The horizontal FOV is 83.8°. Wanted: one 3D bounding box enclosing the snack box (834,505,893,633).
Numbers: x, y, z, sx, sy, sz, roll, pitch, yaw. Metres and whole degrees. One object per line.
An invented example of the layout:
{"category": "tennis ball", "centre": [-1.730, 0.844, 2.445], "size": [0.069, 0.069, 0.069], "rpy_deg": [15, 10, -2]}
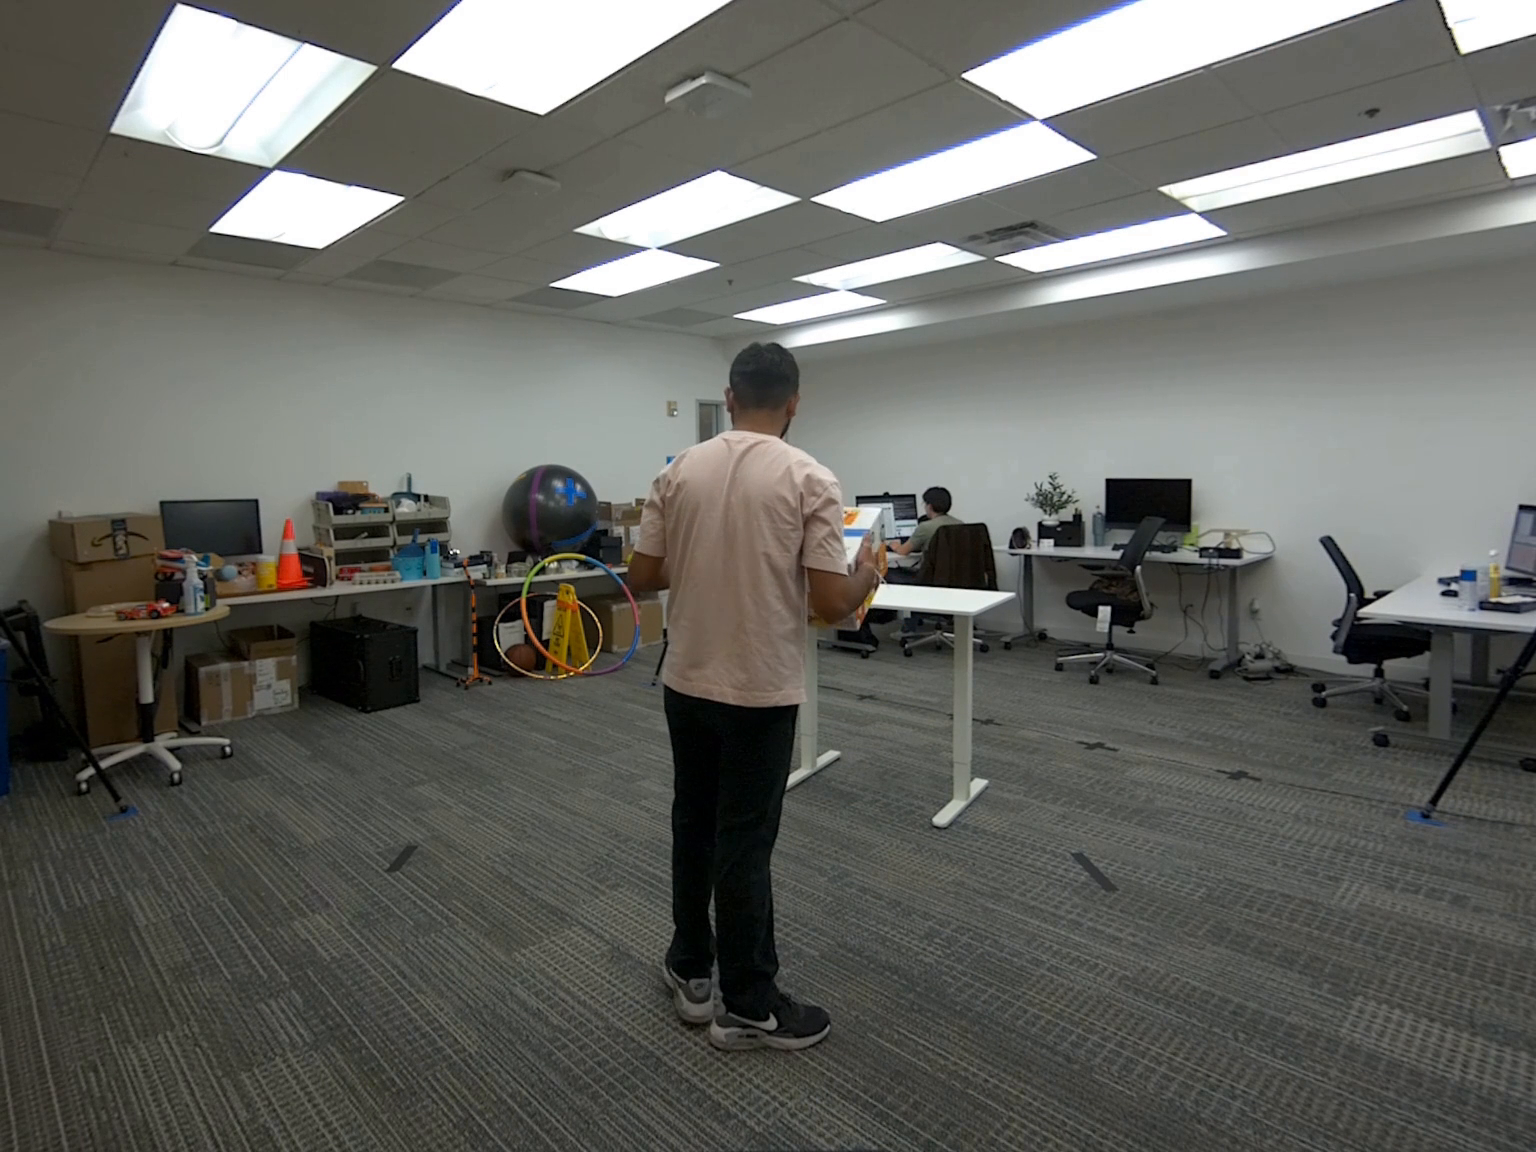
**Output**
{"category": "snack box", "centre": [0.097, -0.039, 2.384], "size": [0.414, 0.201, 0.341], "rpy_deg": [3, 28, 22]}
